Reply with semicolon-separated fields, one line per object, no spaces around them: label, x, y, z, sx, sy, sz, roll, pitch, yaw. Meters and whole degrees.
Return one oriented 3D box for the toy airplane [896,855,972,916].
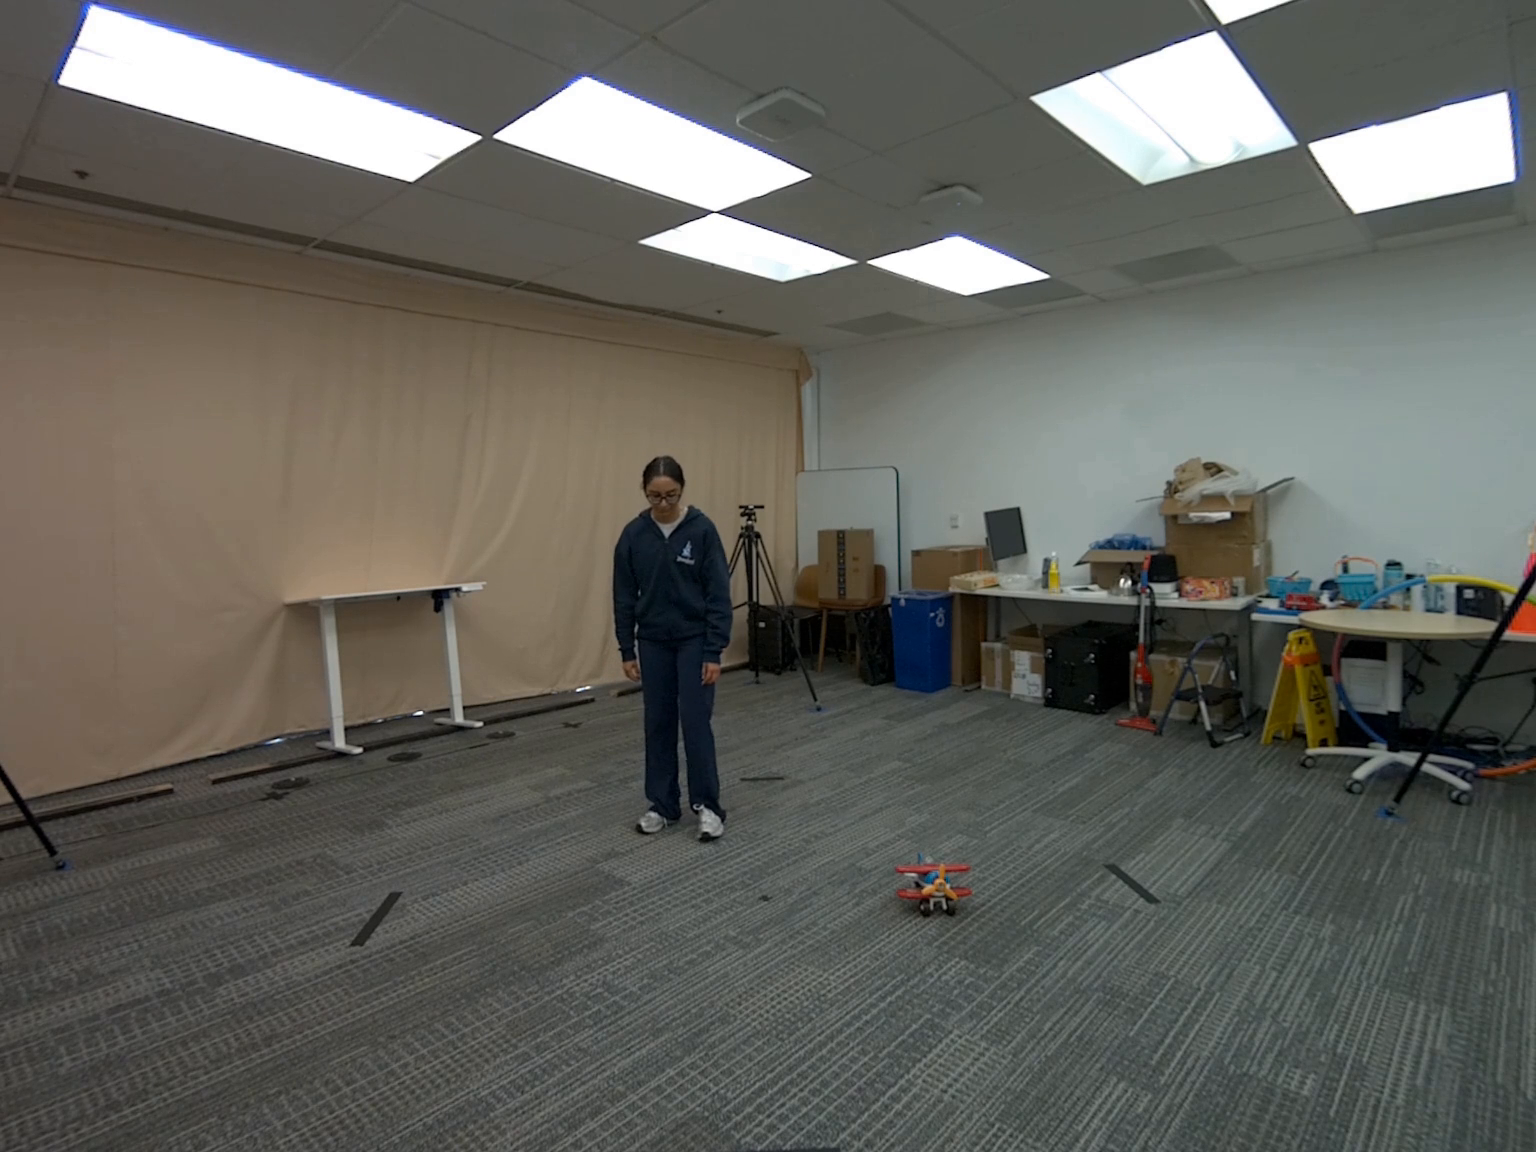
toy airplane;0.548;1.062;2.913;0.244;0.156;0.267;-3;6;-32
